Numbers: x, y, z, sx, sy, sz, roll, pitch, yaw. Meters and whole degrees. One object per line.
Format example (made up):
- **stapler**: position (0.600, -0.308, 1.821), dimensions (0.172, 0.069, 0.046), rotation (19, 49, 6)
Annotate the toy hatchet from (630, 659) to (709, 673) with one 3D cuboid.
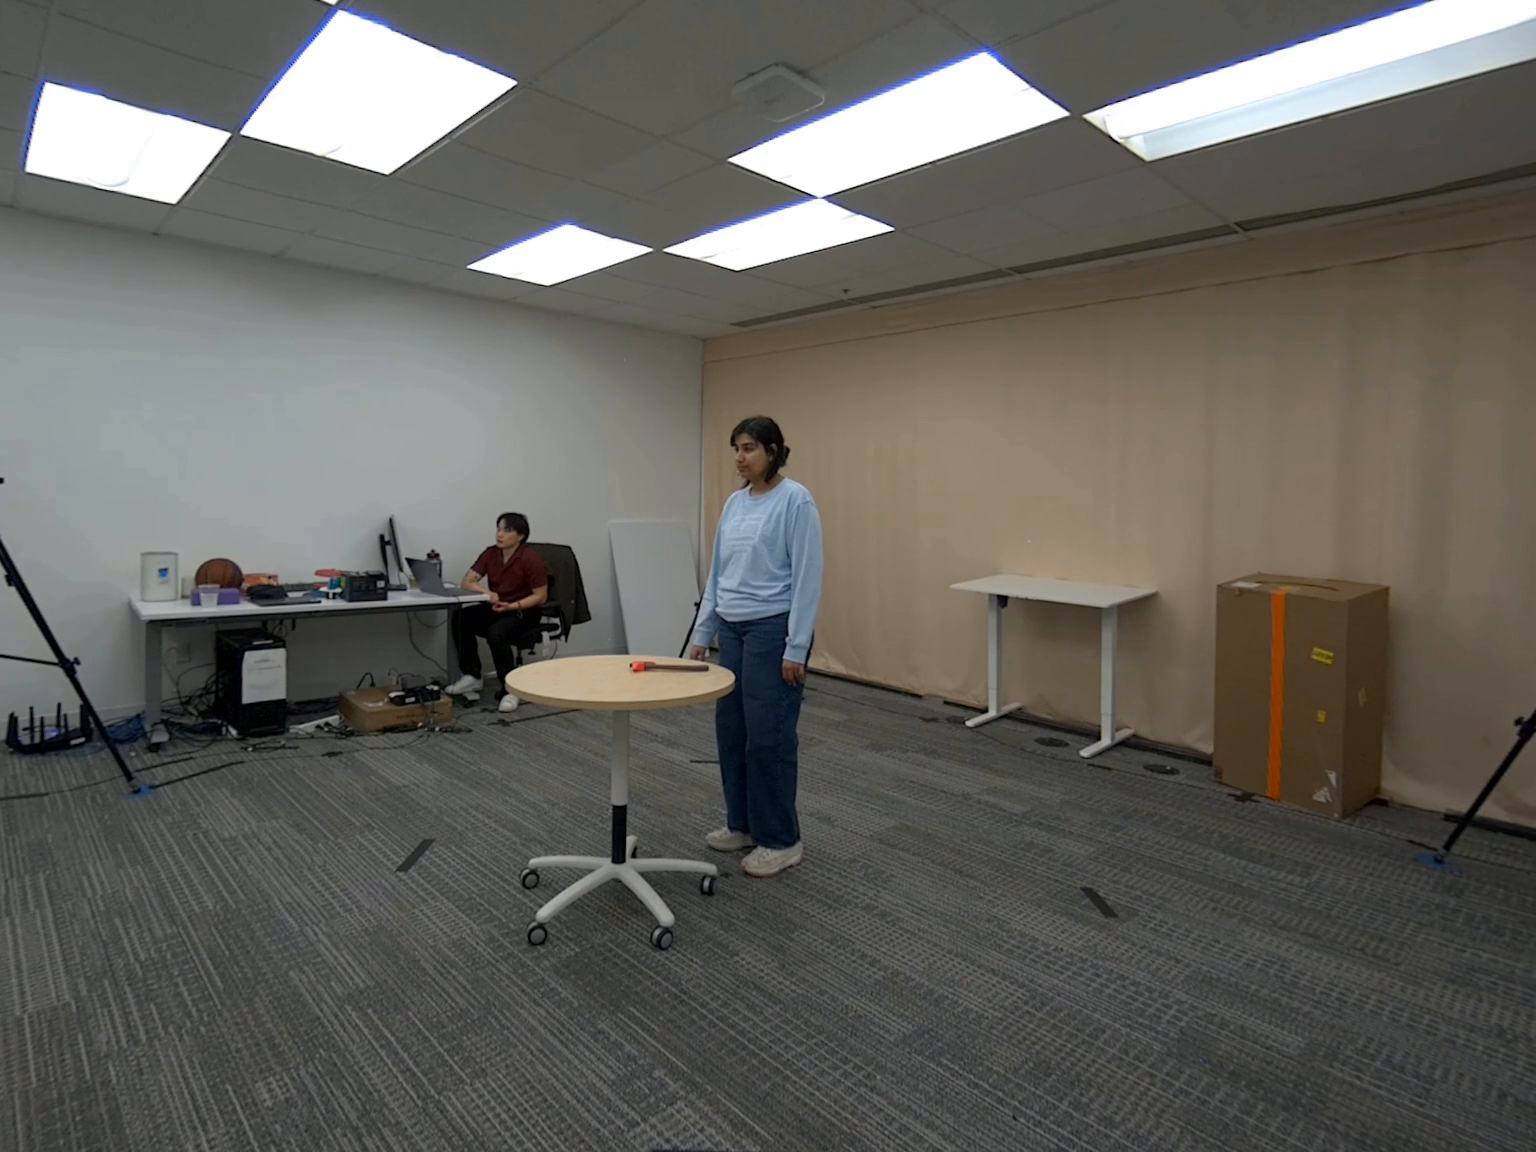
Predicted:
- **toy hatchet**: position (-0.364, 0.319, 2.972), dimensions (0.267, 0.029, 0.132), rotation (2, 0, -14)
